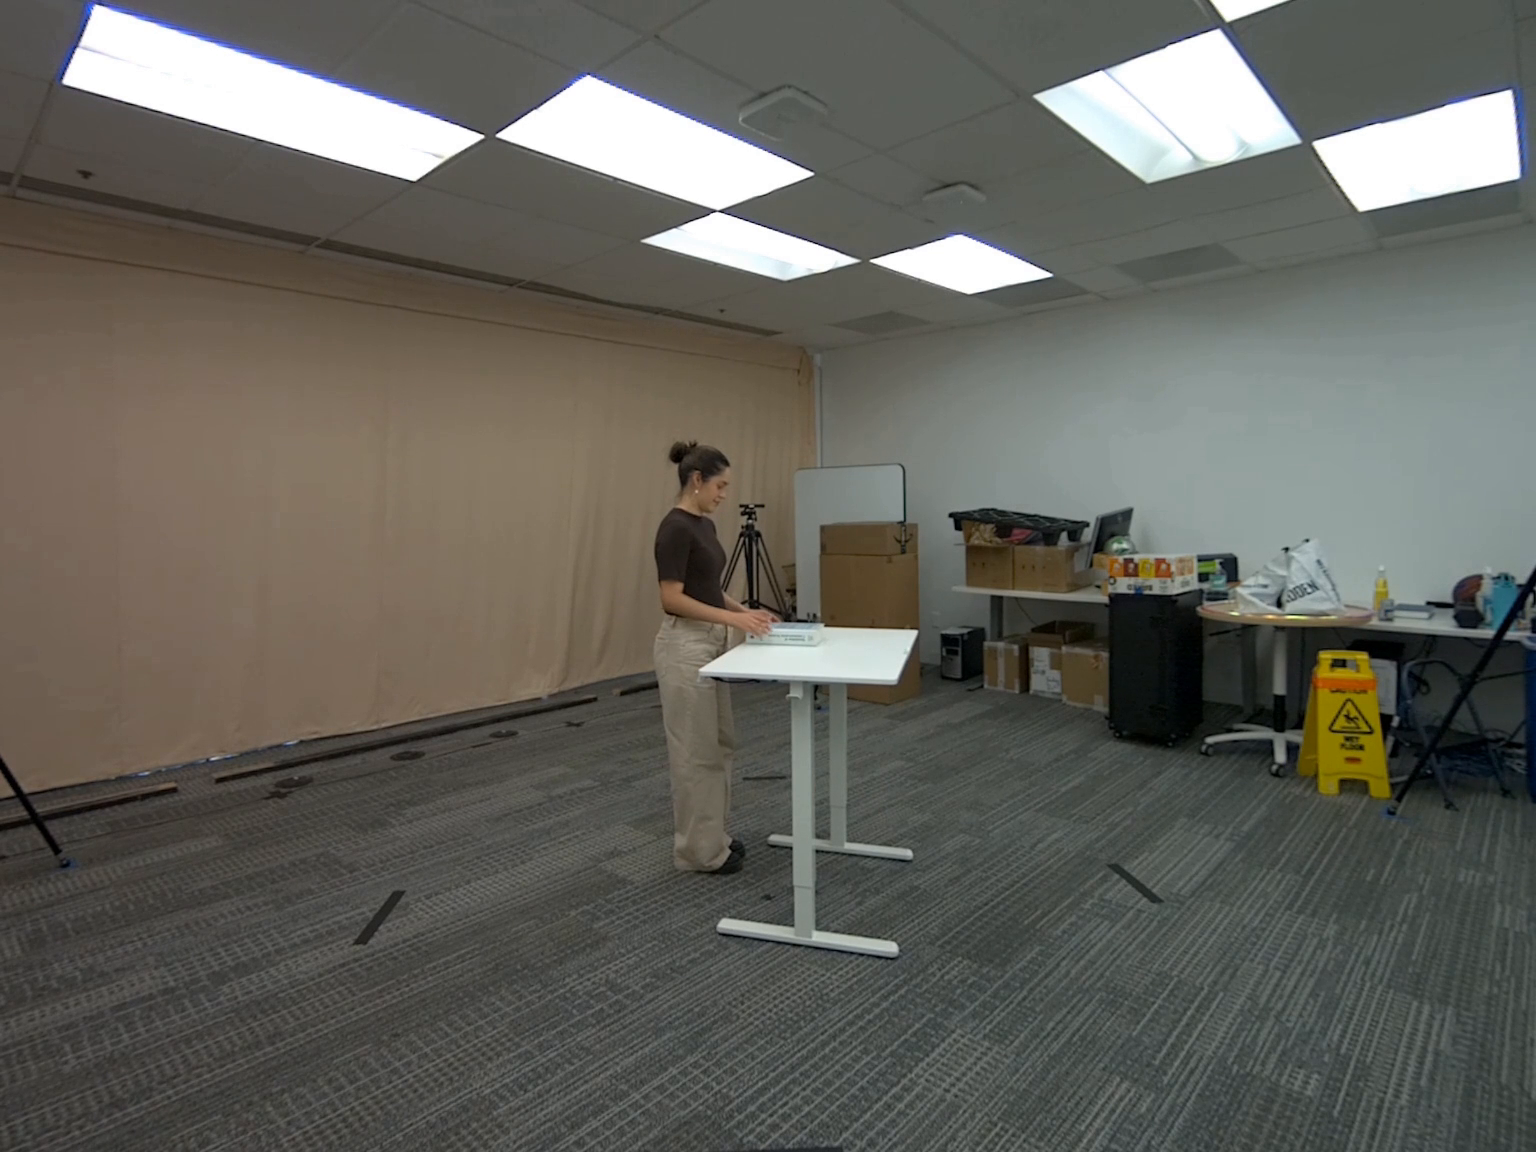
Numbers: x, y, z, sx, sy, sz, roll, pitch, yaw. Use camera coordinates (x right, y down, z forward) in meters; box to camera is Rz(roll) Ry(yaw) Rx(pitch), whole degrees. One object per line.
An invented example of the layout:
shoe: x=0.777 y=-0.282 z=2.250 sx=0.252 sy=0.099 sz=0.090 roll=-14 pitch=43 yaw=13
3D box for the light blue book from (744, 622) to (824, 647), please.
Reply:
light blue book: x=0.070 y=0.216 z=3.123 sx=0.265 sy=0.059 sz=0.189 roll=0 pitch=4 yaw=13
